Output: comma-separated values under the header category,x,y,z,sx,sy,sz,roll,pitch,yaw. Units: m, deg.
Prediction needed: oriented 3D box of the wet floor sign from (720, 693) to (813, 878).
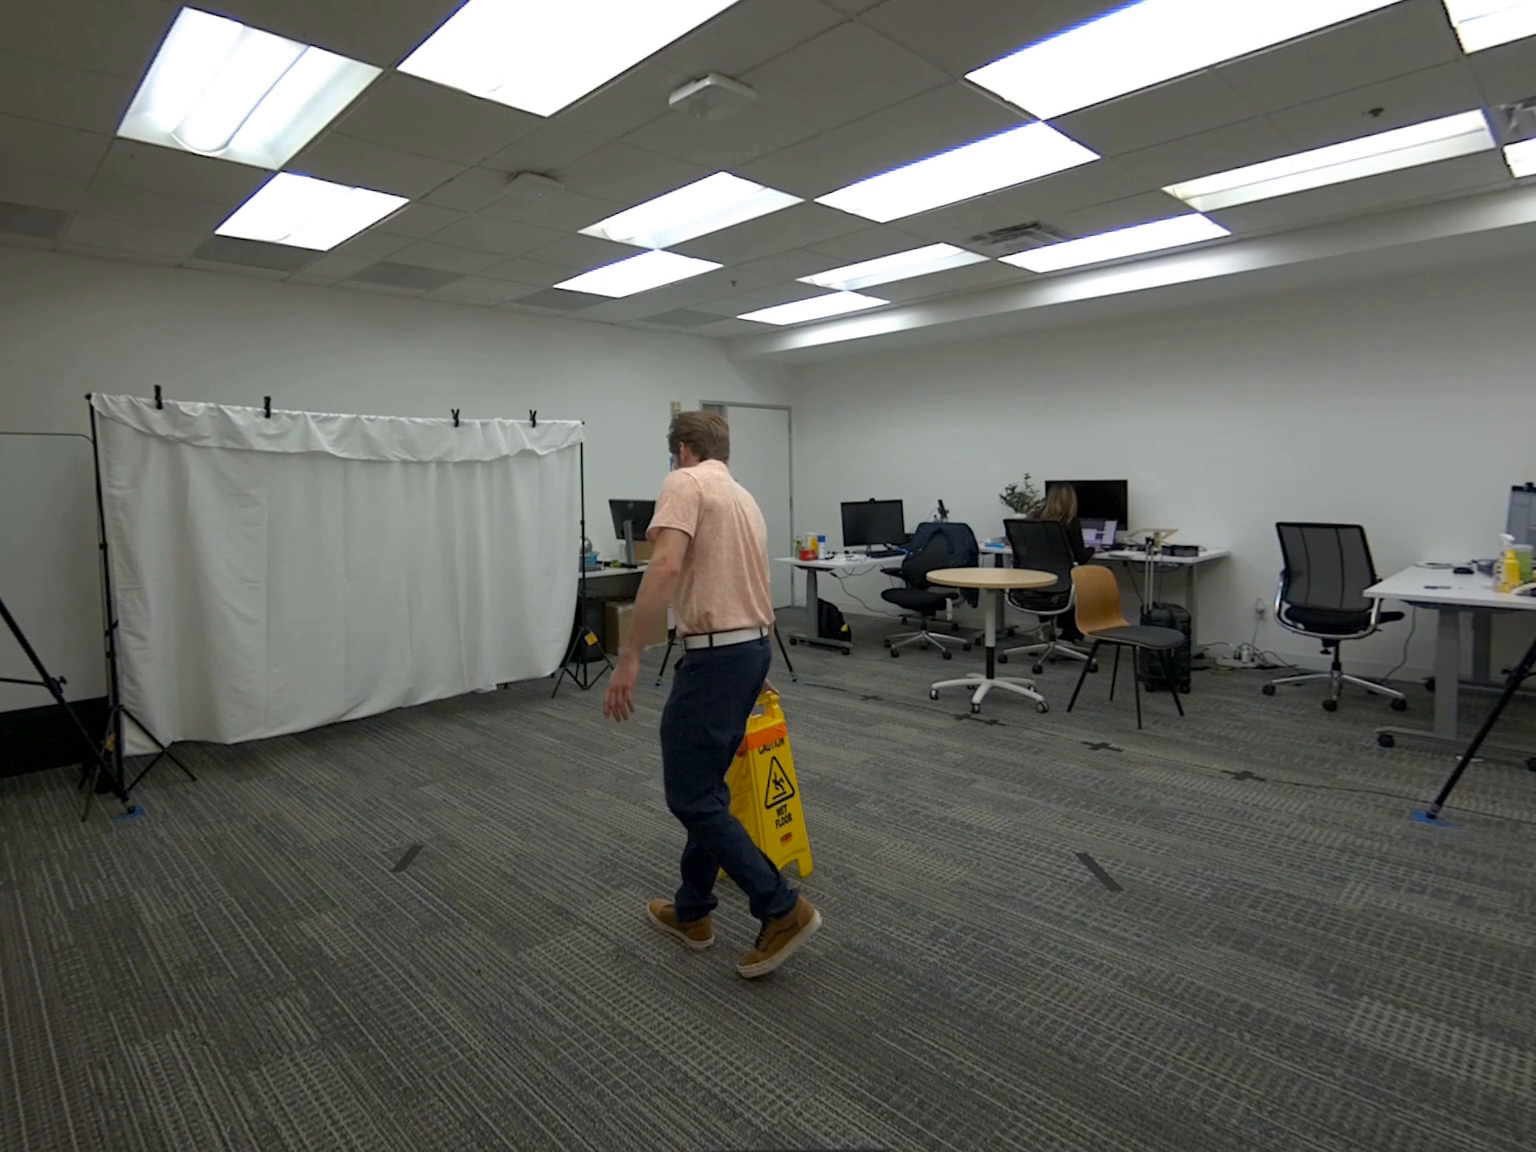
category,x,y,z,sx,sy,sz,roll,pitch,yaw
wet floor sign,-0.024,0.735,3.000,0.298,0.644,0.275,2,4,37
